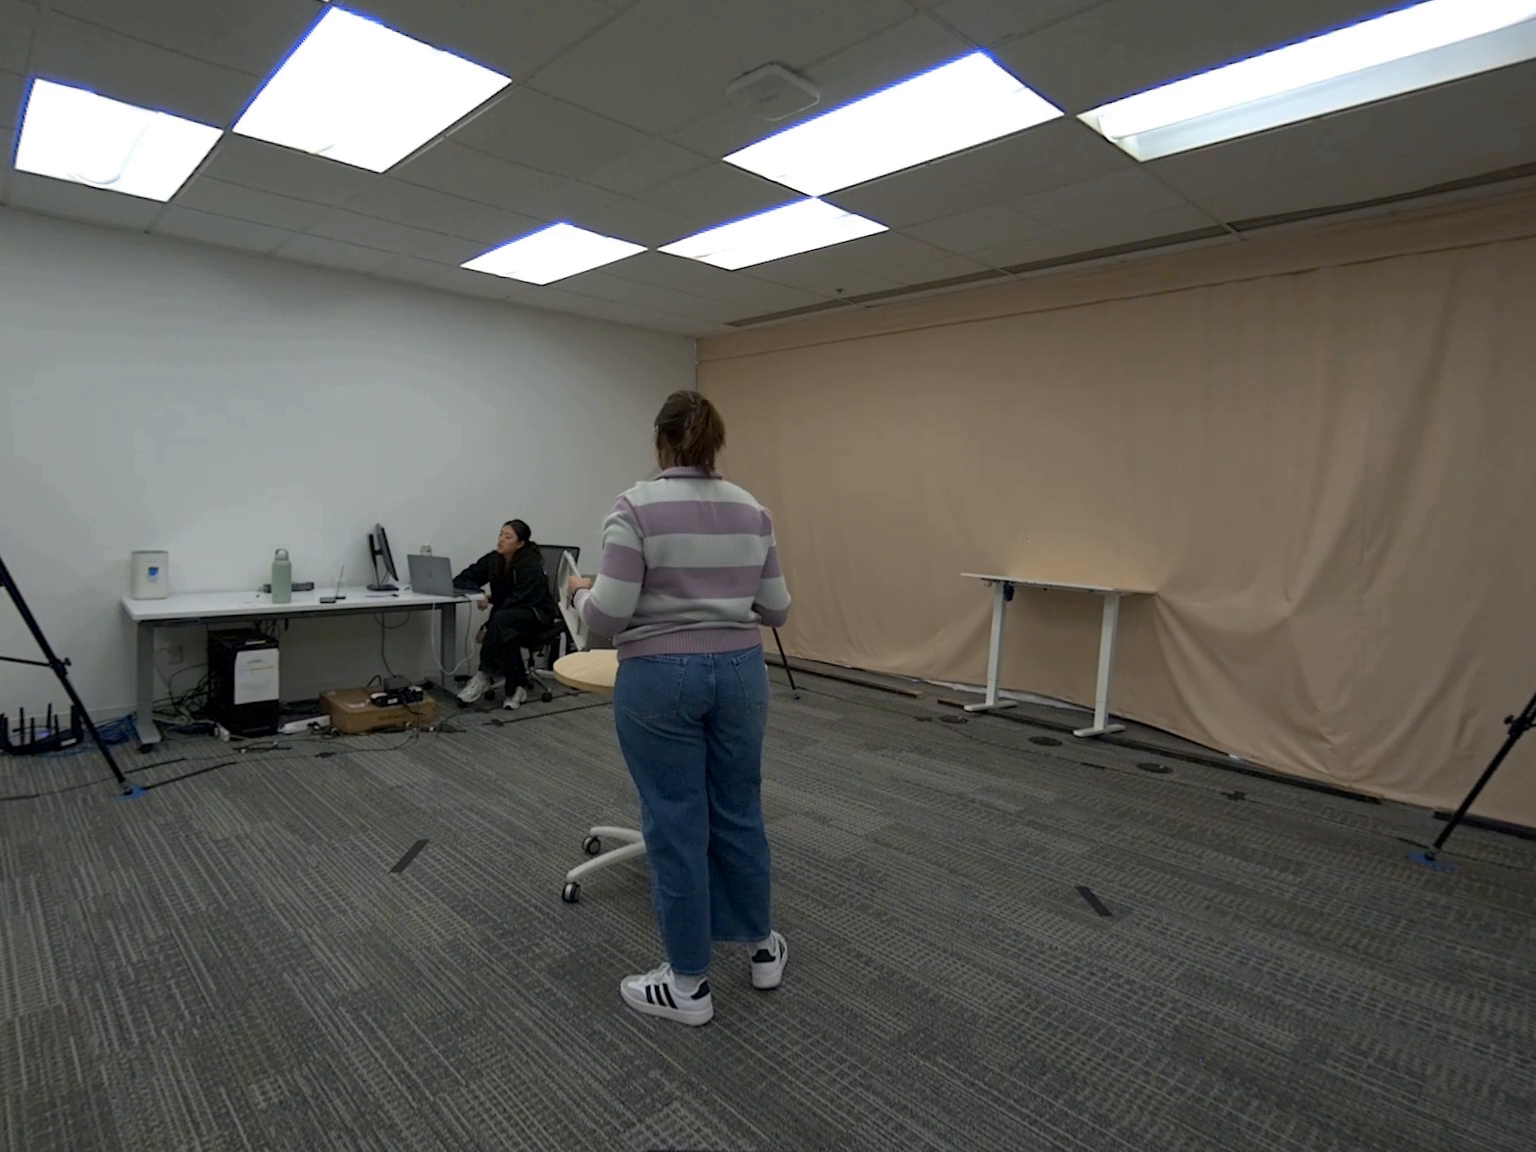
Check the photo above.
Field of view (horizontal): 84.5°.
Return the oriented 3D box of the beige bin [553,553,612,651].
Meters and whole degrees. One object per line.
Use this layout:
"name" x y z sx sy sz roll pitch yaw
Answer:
"beige bin" -0.400 0.075 2.604 0.414 0.187 0.388 4 22 -26
